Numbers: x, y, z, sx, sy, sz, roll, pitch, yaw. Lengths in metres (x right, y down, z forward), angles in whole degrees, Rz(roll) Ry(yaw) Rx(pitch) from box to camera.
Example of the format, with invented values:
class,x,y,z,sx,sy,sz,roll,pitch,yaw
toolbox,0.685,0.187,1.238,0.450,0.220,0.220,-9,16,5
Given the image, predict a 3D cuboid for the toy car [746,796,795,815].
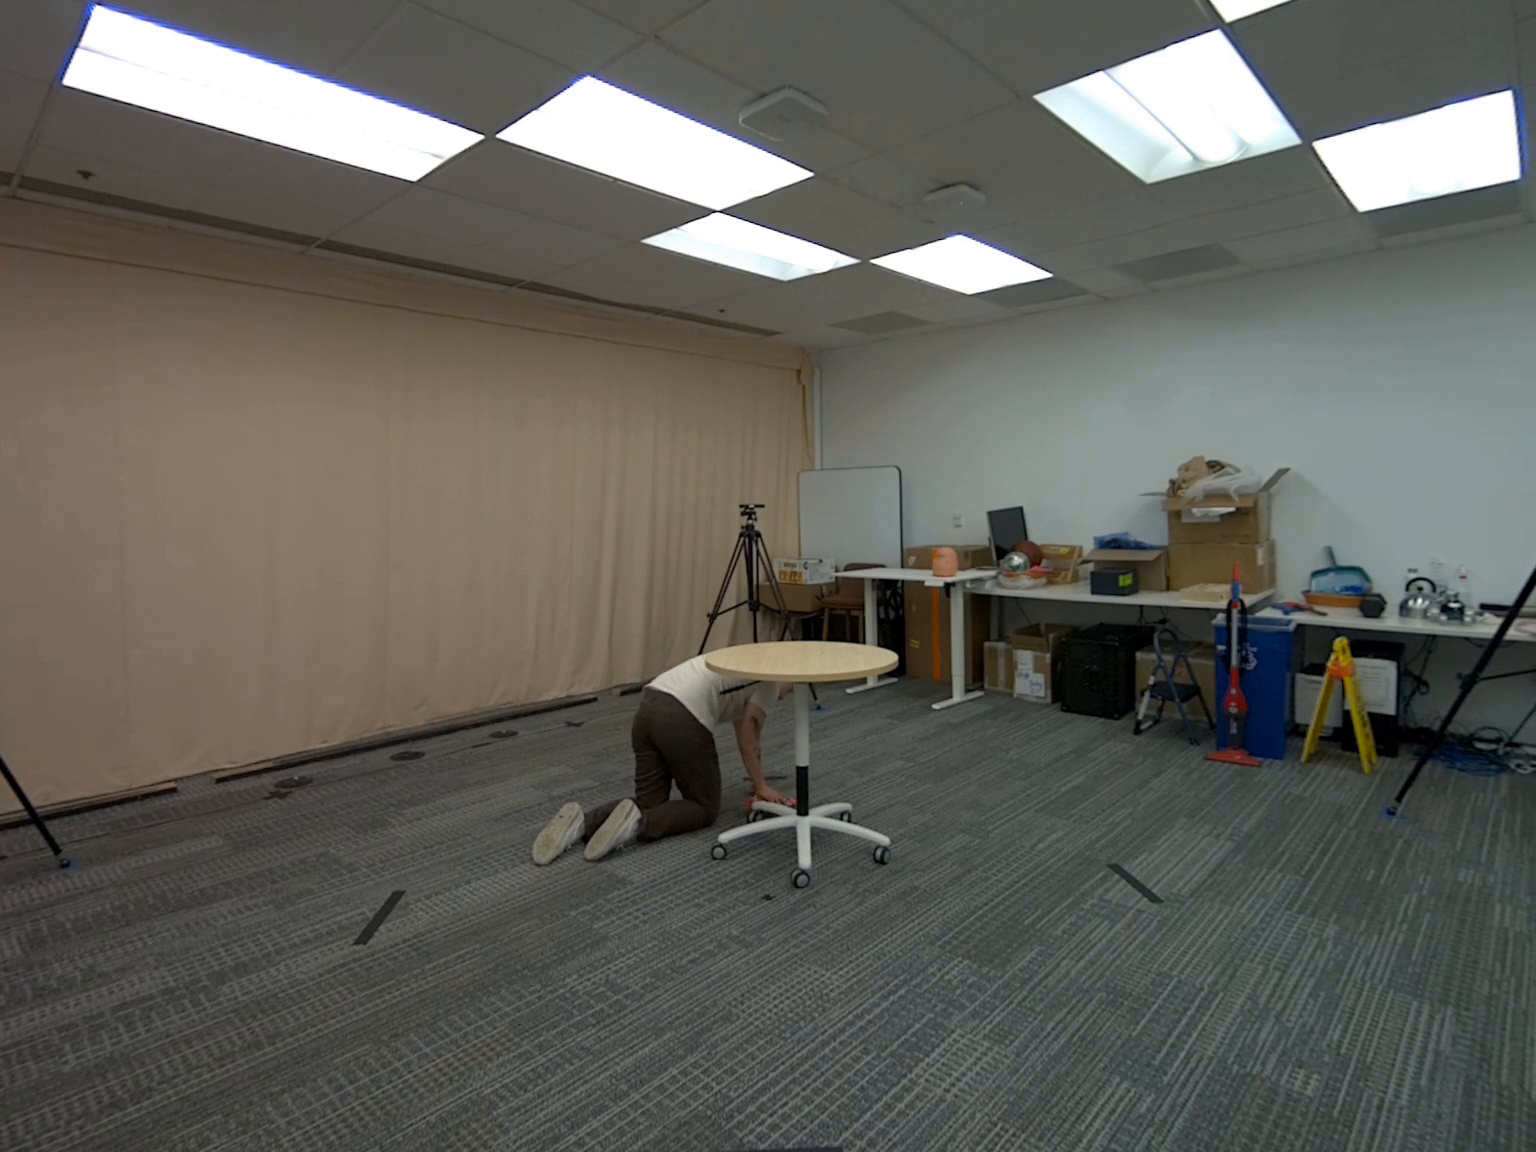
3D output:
class,x,y,z,sx,sy,sz,roll,pitch,yaw
toy car,0.035,1.044,3.802,0.251,0.083,0.132,9,0,-13
